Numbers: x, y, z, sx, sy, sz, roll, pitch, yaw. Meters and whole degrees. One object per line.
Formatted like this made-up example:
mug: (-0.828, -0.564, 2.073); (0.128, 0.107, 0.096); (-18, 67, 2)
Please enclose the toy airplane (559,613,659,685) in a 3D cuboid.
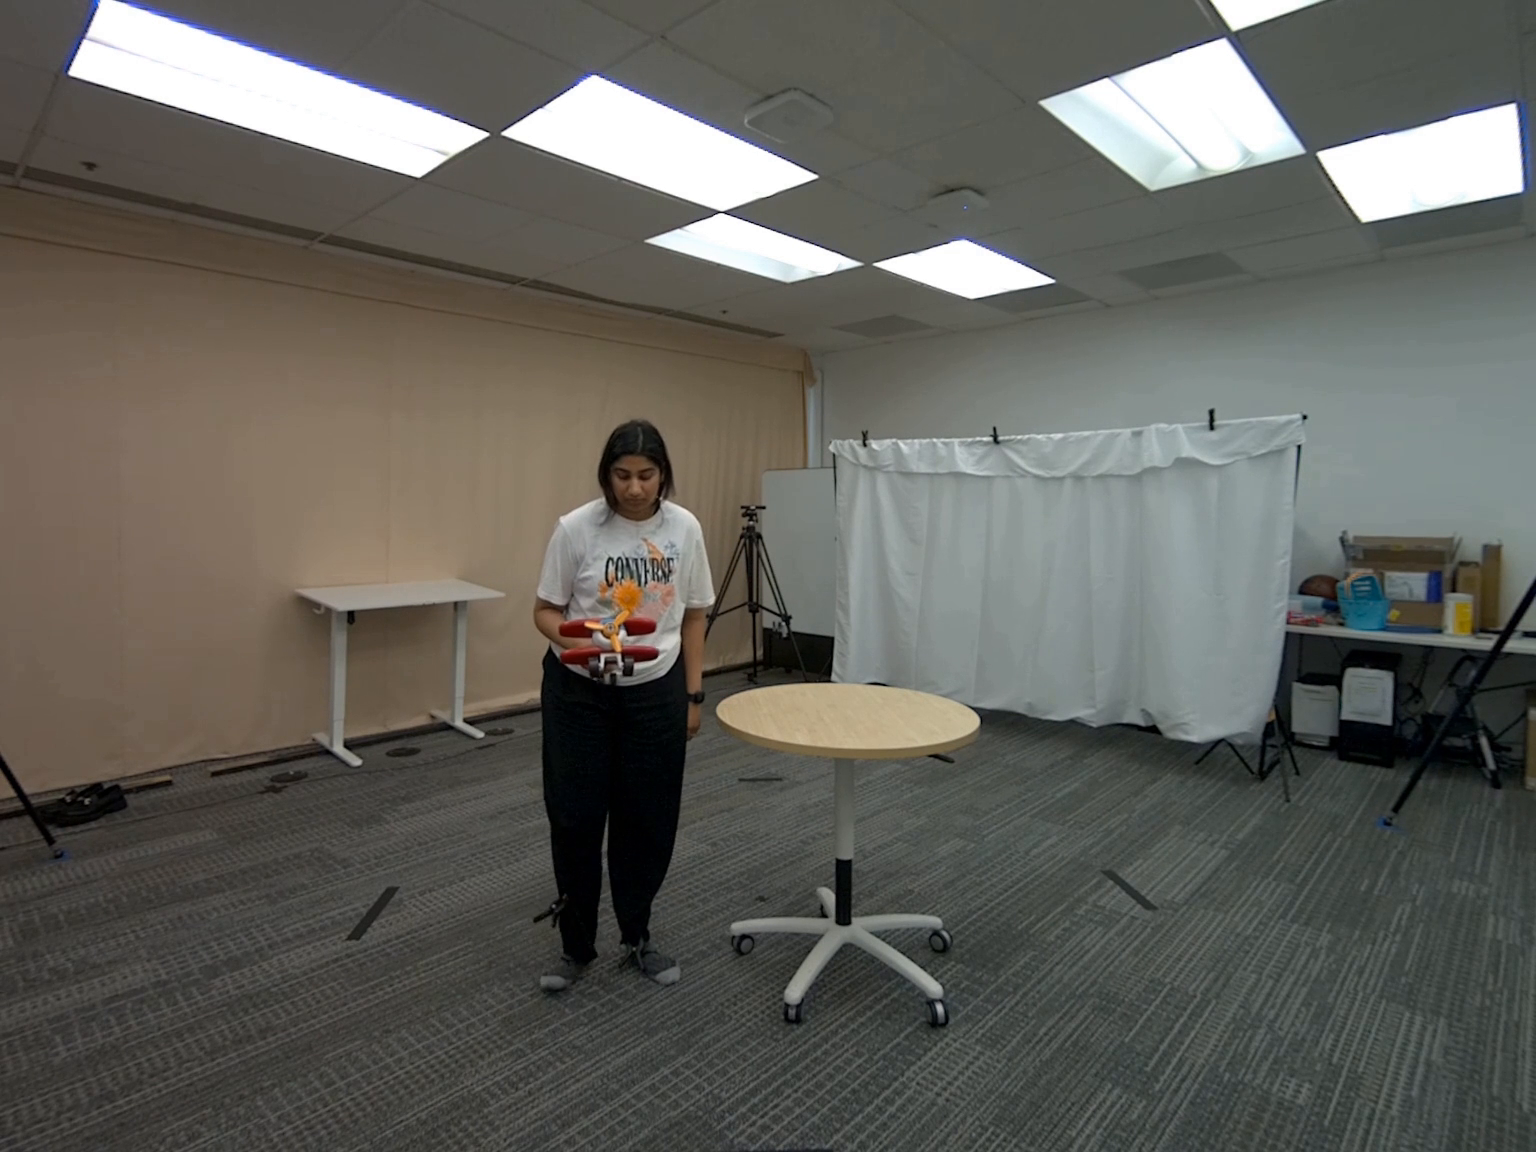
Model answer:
toy airplane: (-0.429, 0.203, 2.211); (0.243, 0.158, 0.265); (6, -17, -39)
